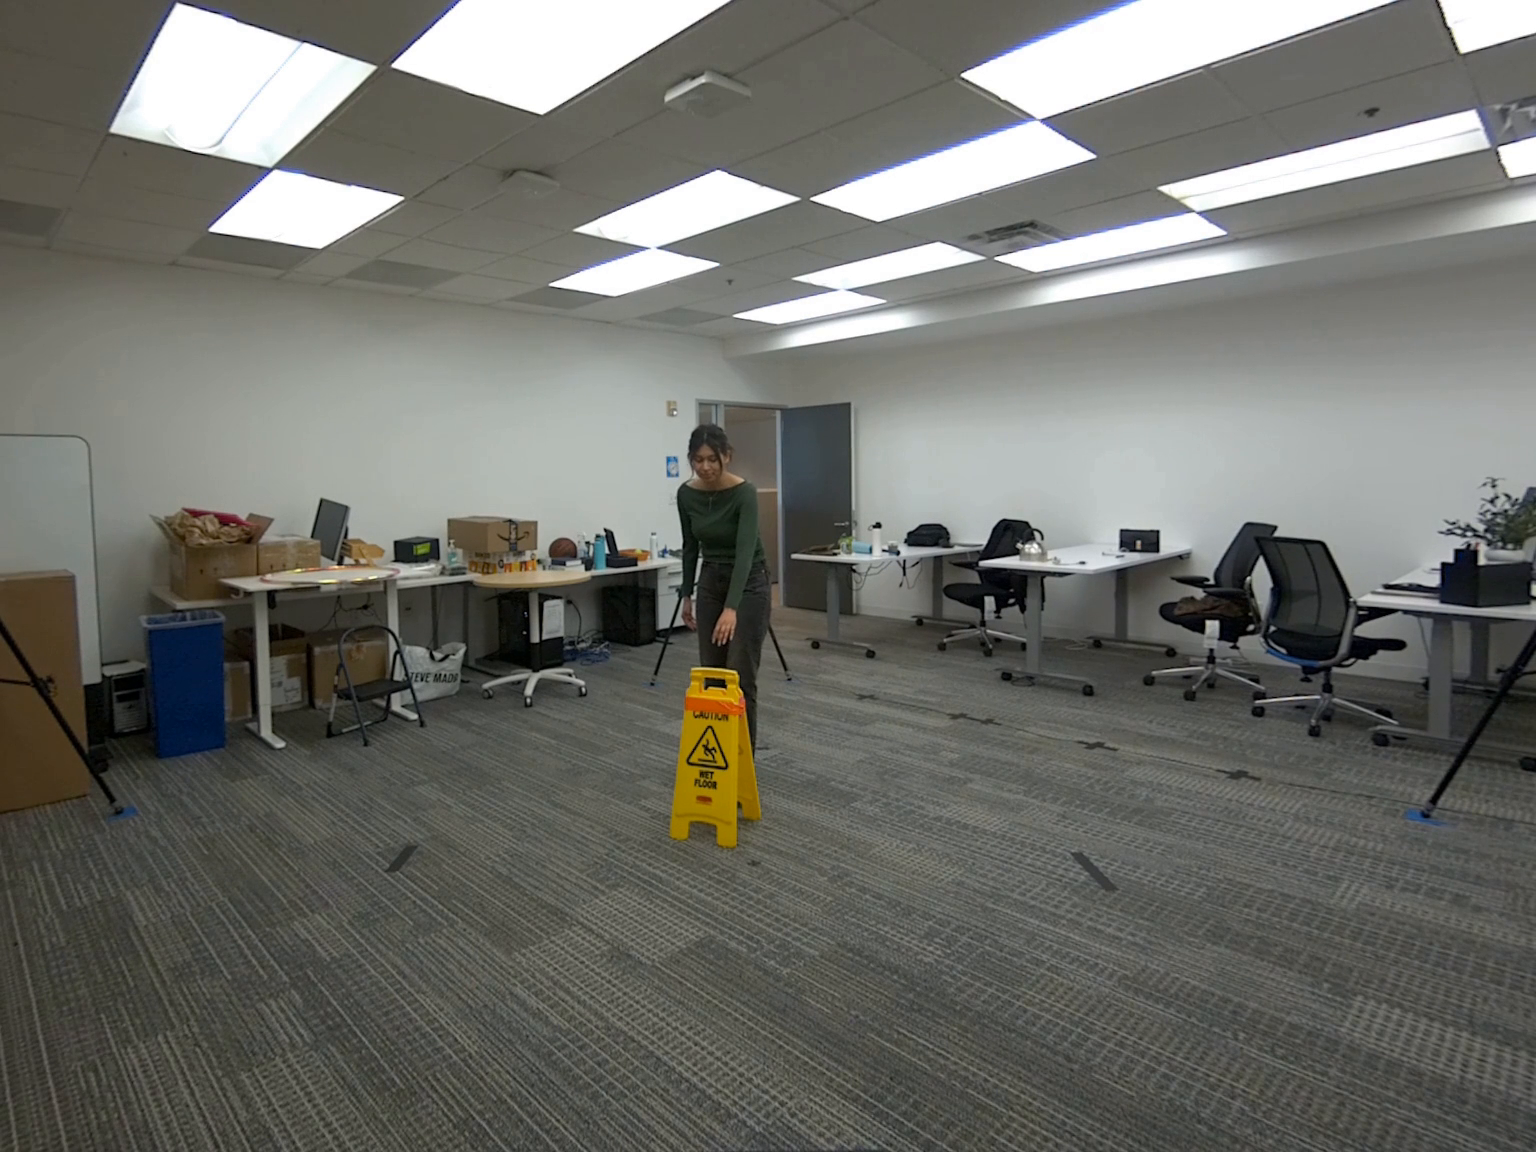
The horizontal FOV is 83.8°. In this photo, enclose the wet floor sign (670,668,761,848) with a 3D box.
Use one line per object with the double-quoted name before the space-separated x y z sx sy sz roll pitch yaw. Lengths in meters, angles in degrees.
"wet floor sign" -0.215 0.693 3.401 0.288 0.644 0.285 0 4 21
